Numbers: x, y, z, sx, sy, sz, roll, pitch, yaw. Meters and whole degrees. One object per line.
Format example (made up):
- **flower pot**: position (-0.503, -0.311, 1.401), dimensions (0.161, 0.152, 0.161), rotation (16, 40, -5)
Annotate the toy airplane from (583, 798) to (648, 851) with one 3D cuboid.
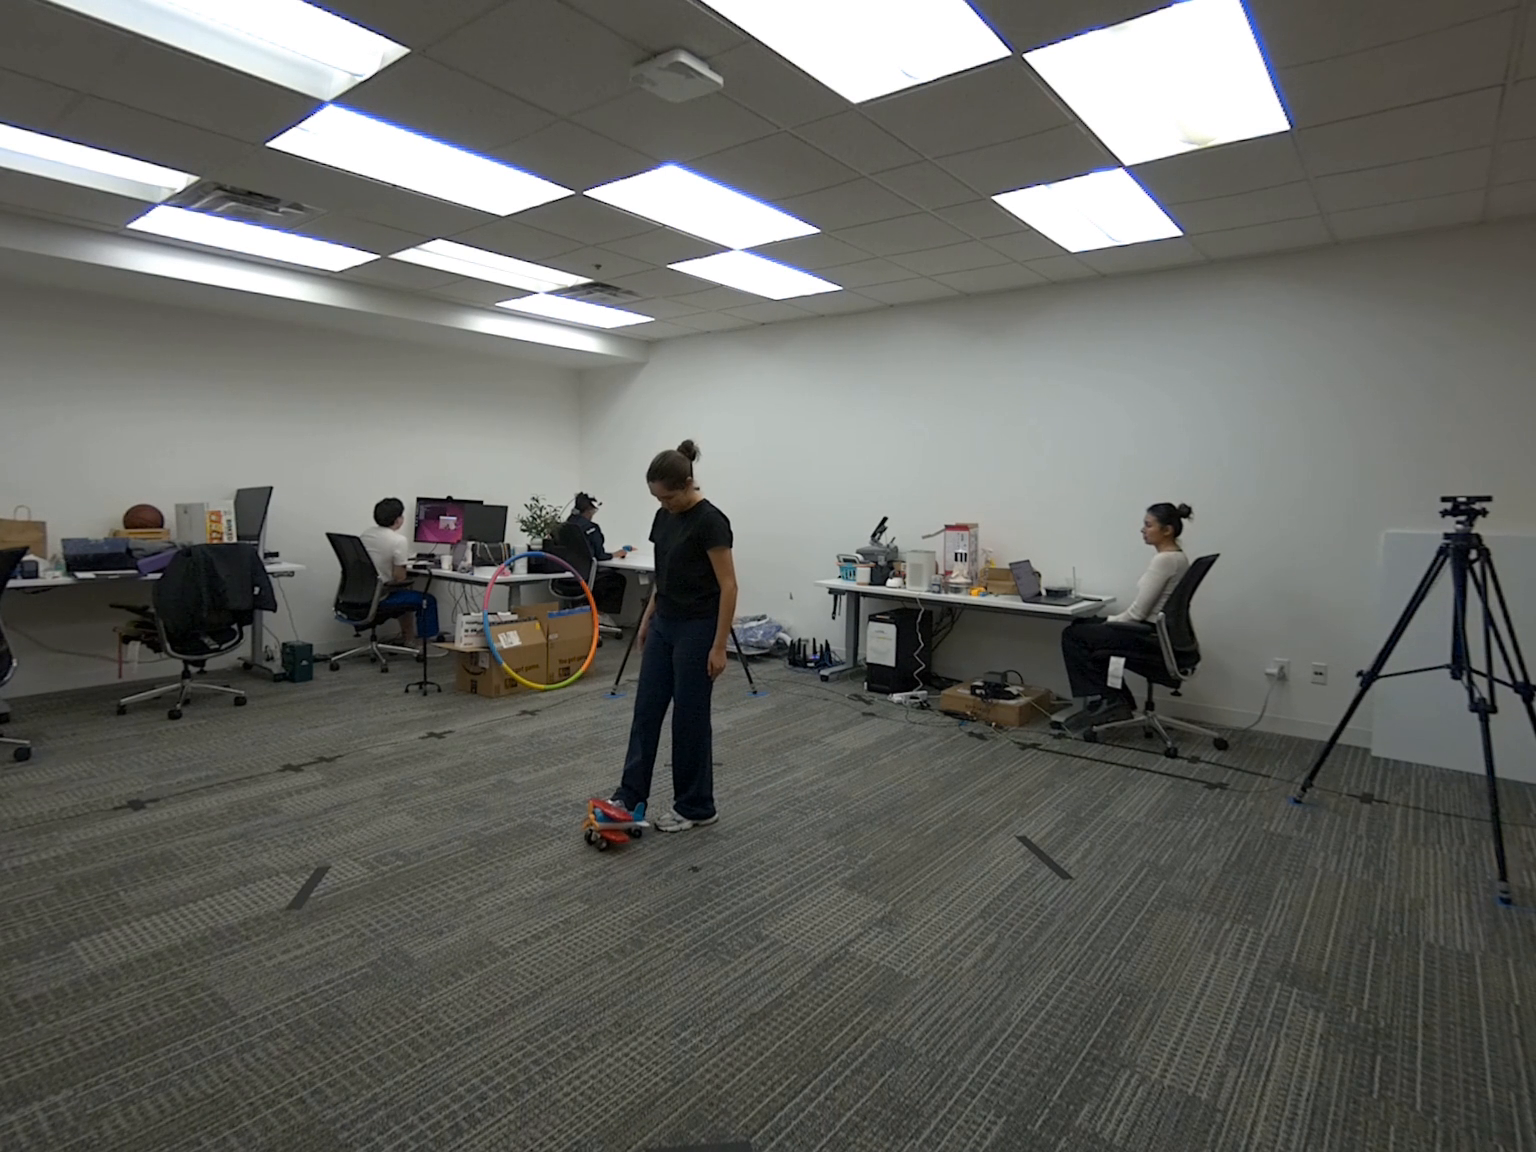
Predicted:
- **toy airplane**: position (-0.607, 0.962, 3.360), dimensions (0.257, 0.156, 0.254), rotation (2, 6, 22)
